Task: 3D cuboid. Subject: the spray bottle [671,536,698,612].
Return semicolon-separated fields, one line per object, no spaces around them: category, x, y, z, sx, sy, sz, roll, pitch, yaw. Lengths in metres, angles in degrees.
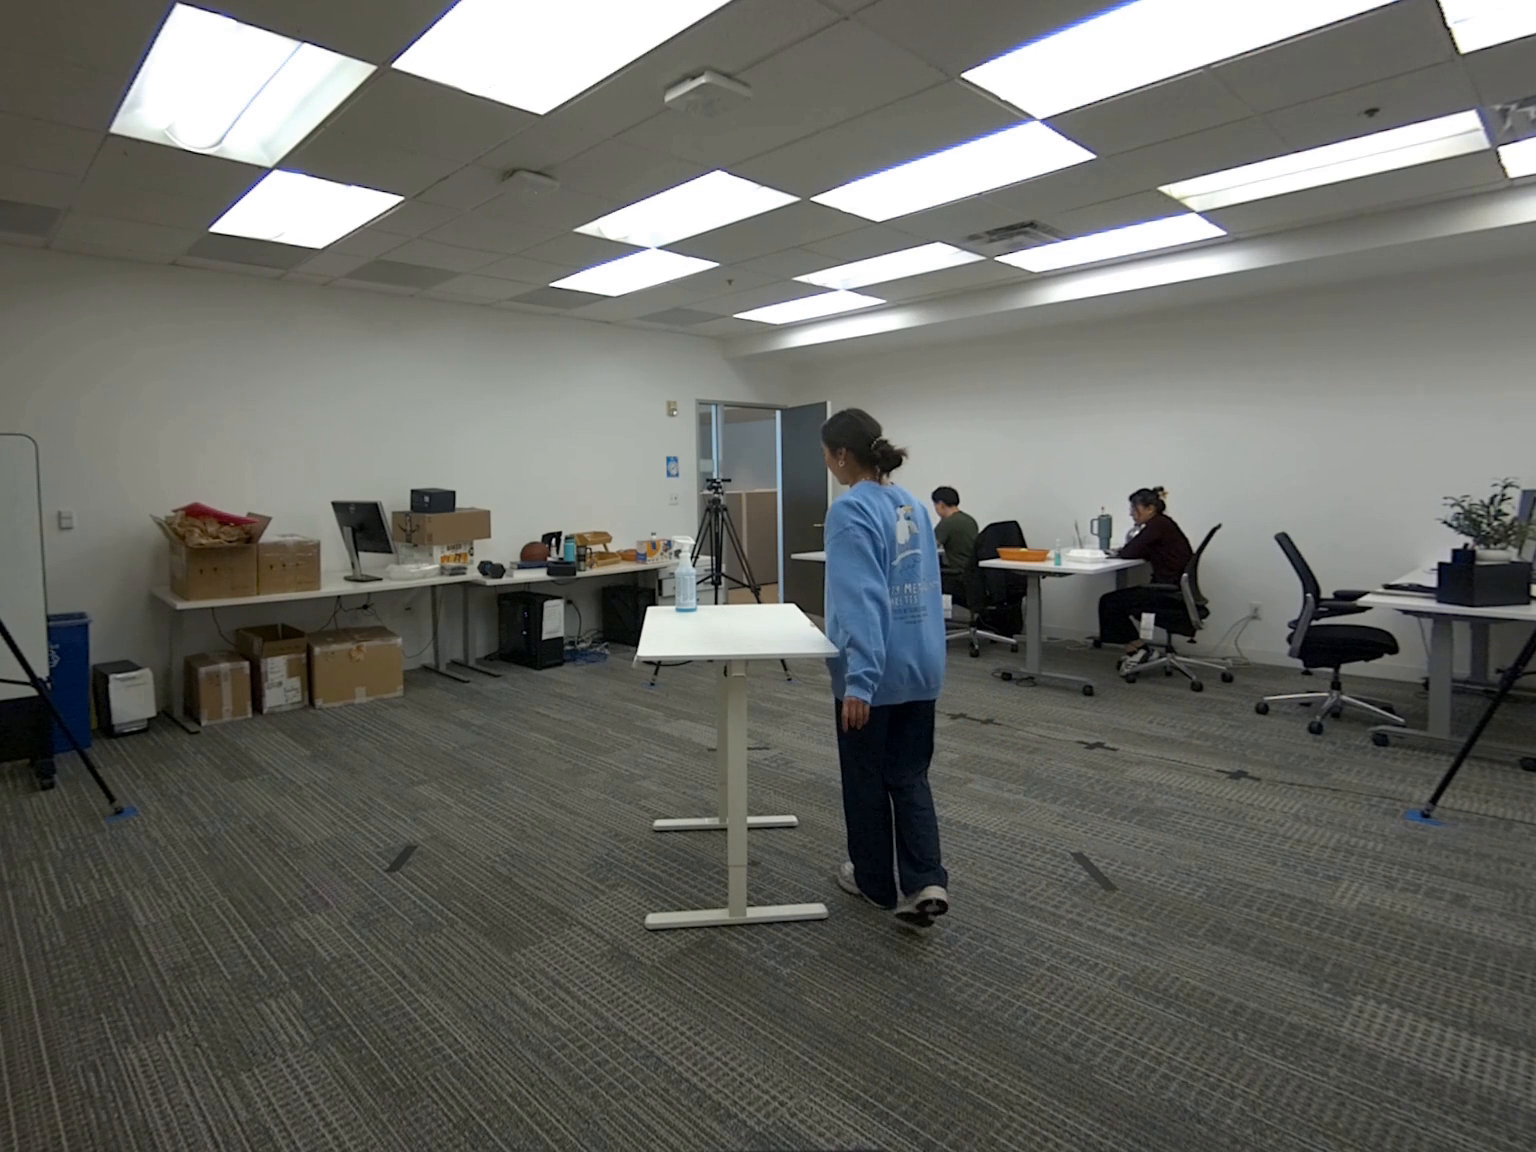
spray bottle;-0.326;-0.008;3.370;0.091;0.296;0.086;0;4;15
